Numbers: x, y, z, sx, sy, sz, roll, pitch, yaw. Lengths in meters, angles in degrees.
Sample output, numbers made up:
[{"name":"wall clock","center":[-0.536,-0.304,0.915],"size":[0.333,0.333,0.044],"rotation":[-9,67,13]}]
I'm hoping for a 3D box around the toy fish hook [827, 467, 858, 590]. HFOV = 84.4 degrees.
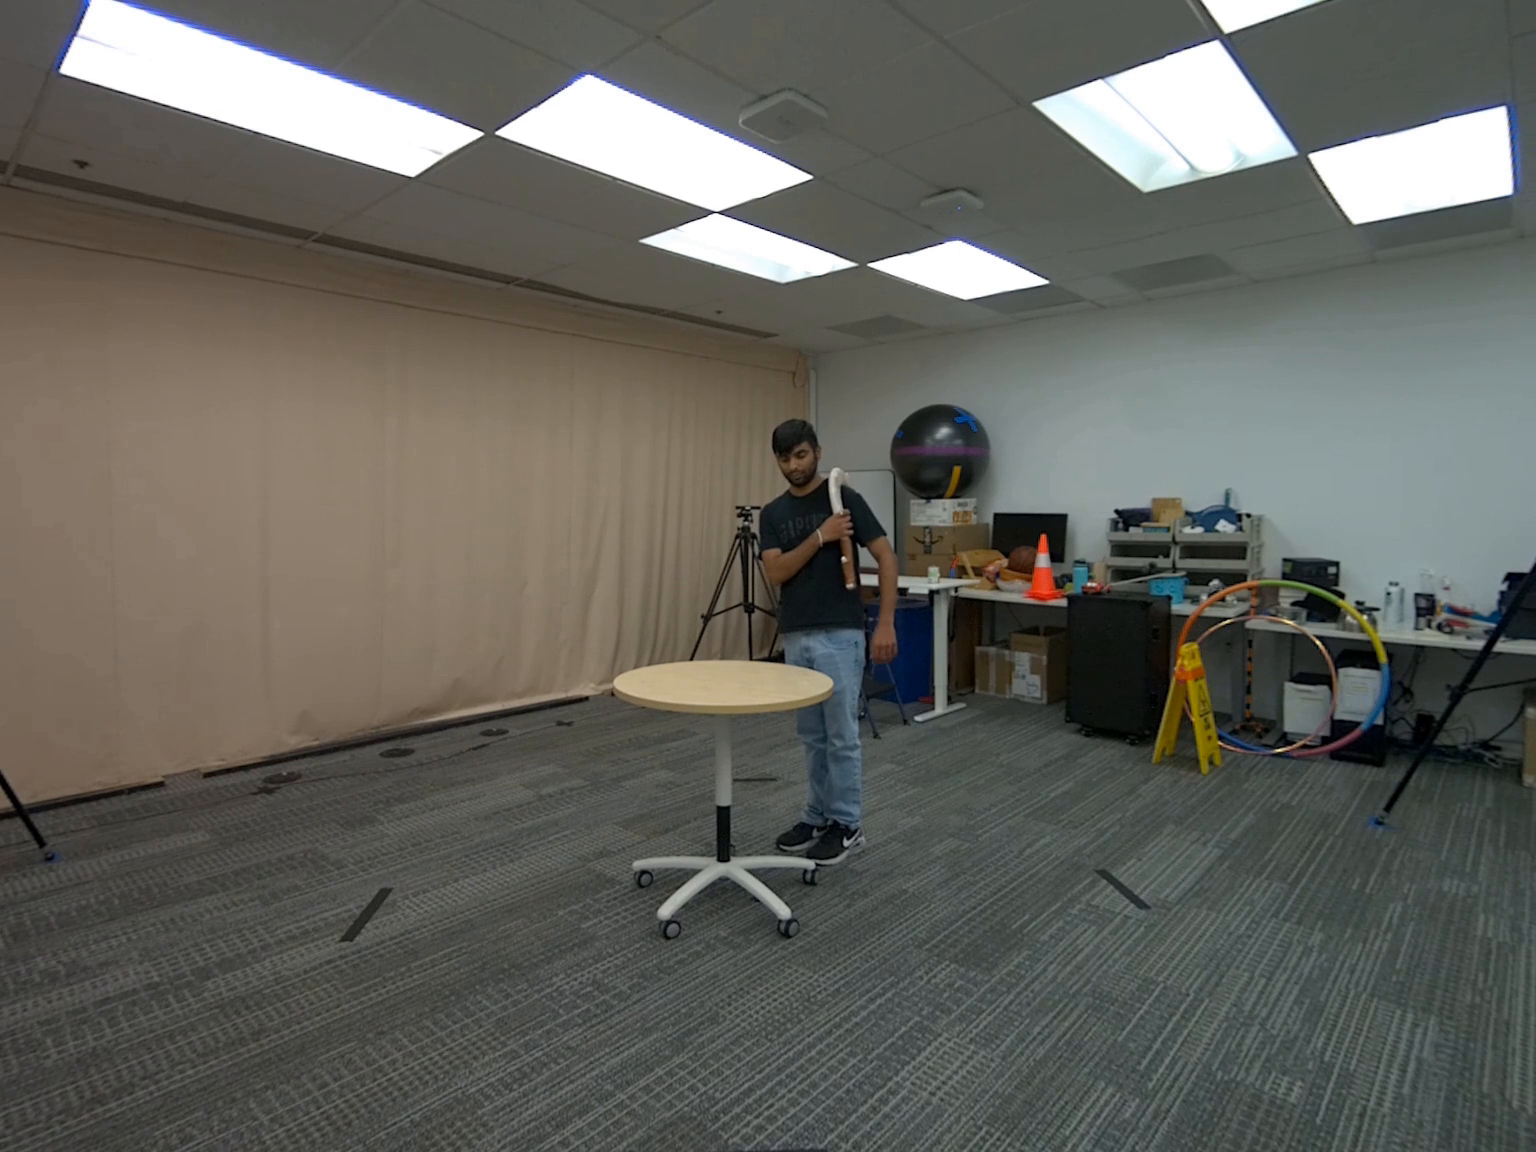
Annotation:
[{"name":"toy fish hook","center":[0.328,-0.184,3.309],"size":[0.049,0.513,0.217],"rotation":[-22,-24,39]}]
